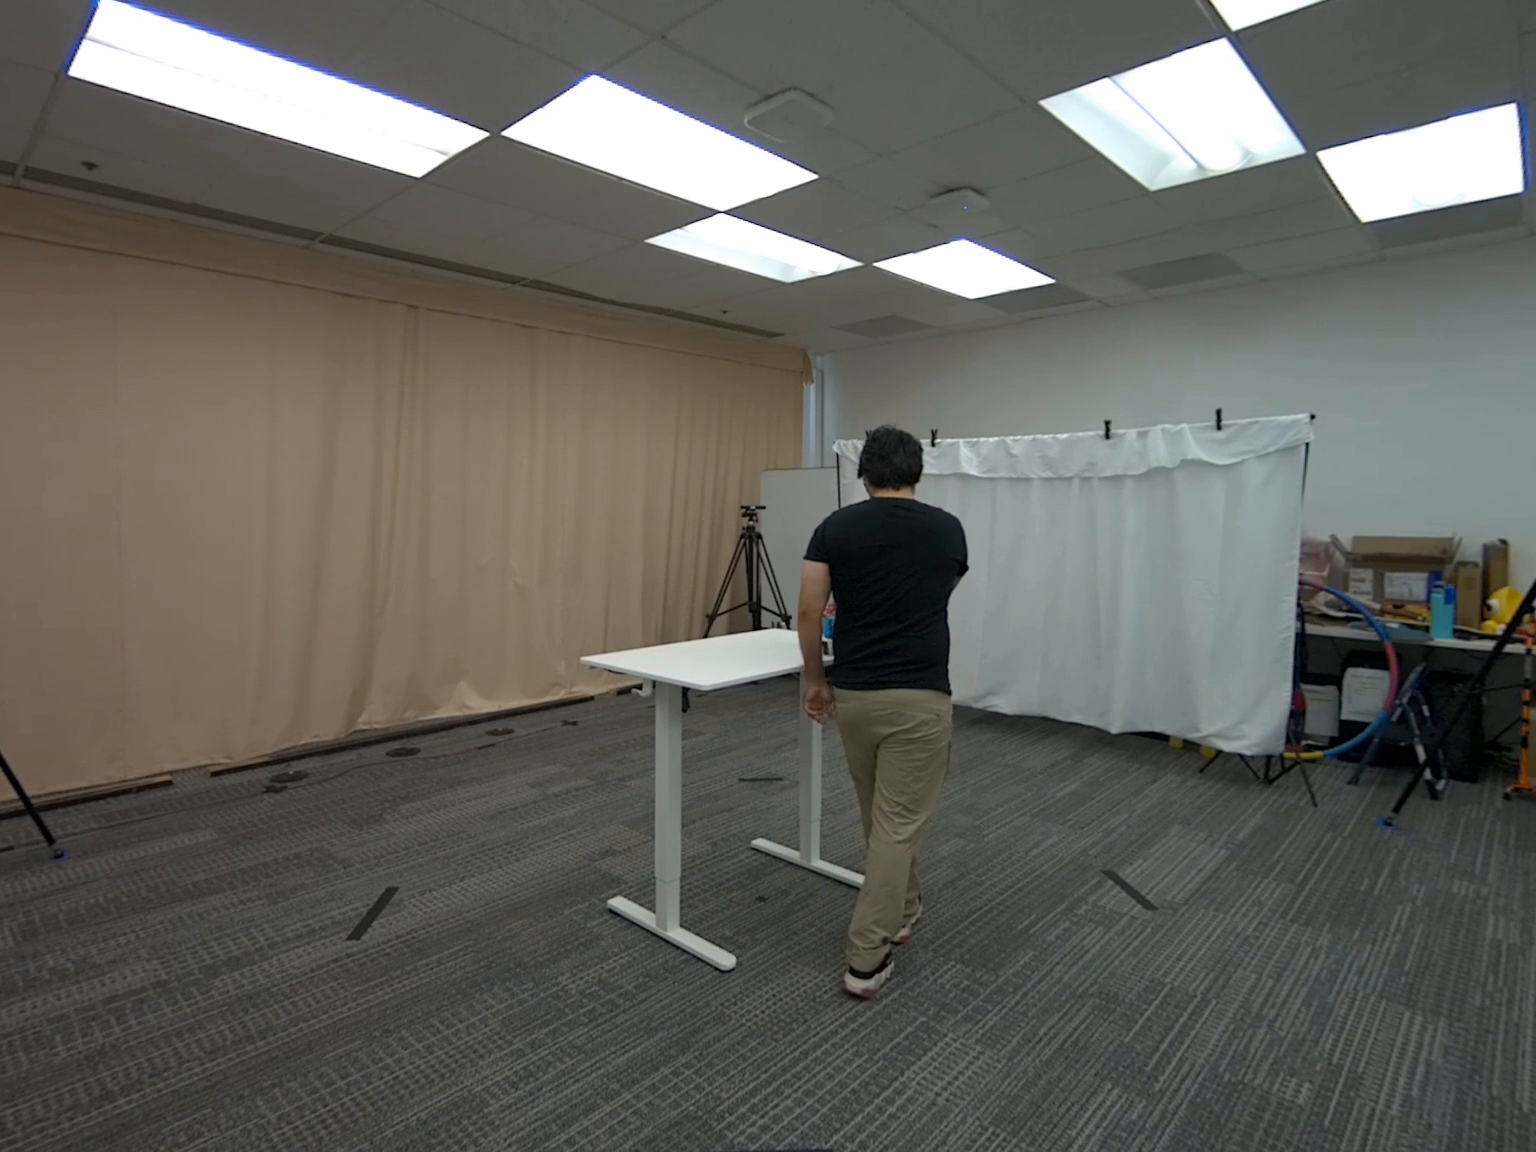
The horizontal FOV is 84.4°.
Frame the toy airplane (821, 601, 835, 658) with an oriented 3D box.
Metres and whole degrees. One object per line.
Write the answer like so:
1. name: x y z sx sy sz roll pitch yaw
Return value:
1. toy airplane: 0.261 0.187 2.973 0.247 0.156 0.264 -3 4 -18
